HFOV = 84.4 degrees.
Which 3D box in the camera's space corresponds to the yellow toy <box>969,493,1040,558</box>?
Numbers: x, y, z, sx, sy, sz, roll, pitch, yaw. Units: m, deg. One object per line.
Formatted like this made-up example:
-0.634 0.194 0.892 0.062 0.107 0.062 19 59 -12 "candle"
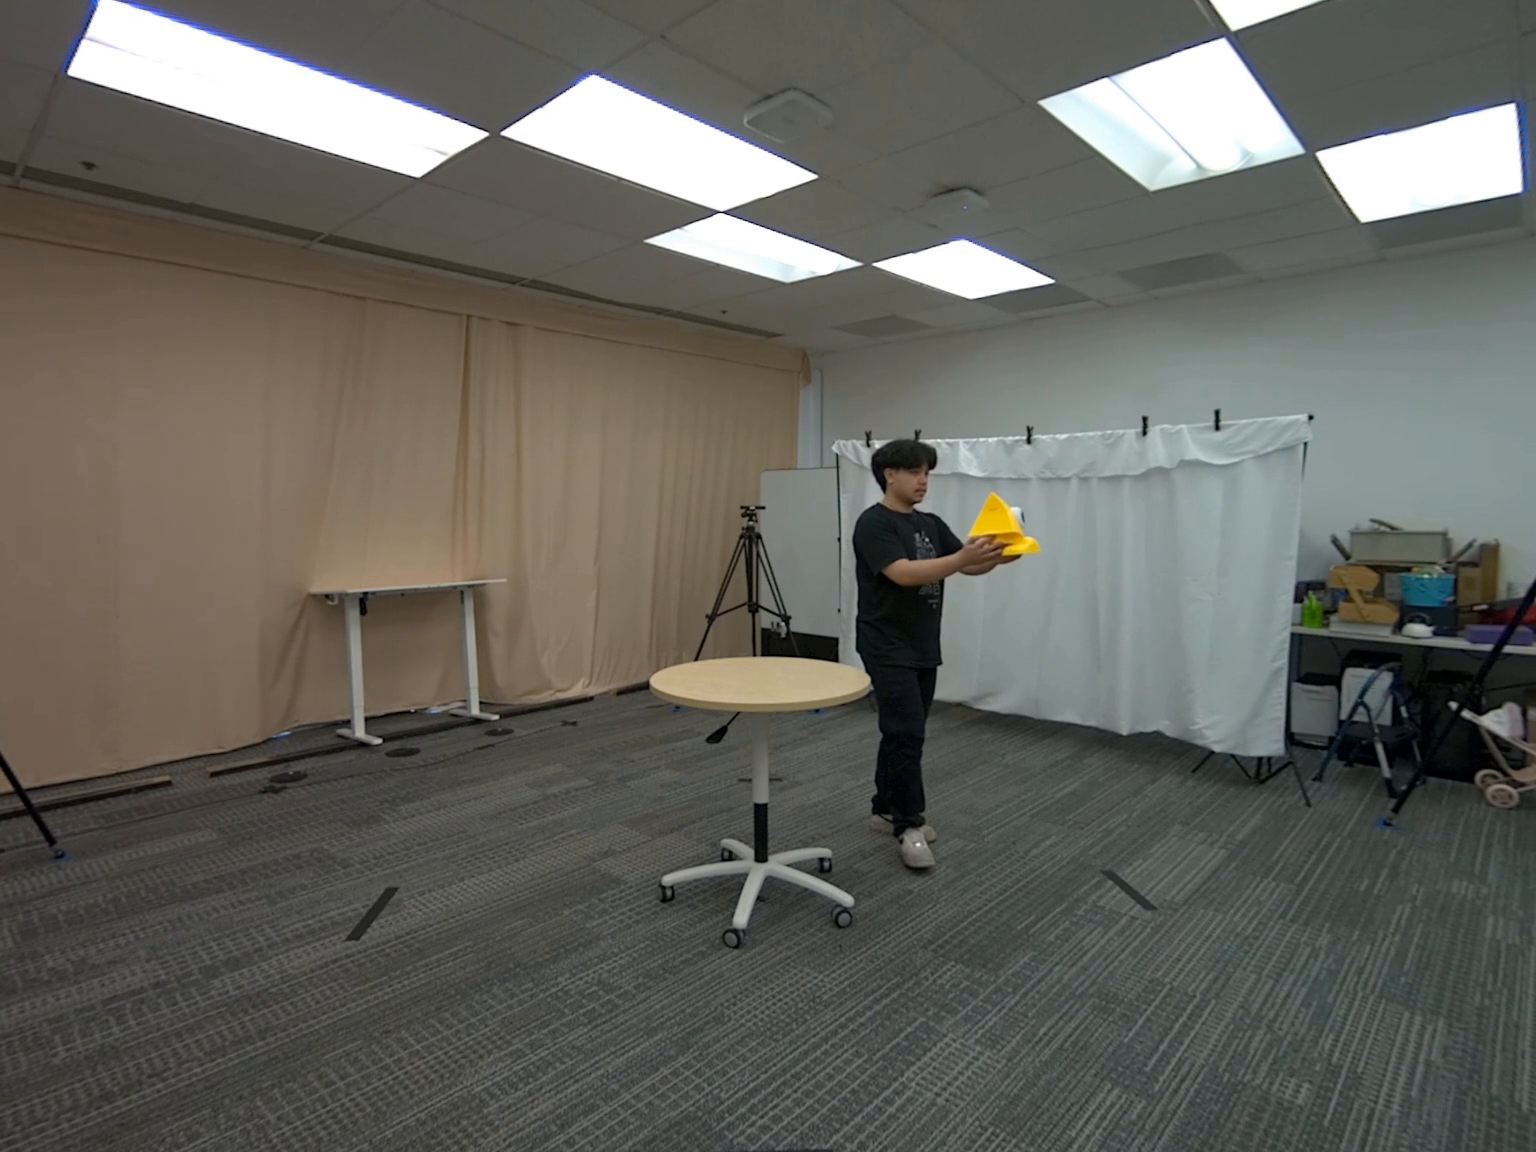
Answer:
0.853 -0.188 3.042 0.188 0.231 0.210 -5 0 -34 "yellow toy"
